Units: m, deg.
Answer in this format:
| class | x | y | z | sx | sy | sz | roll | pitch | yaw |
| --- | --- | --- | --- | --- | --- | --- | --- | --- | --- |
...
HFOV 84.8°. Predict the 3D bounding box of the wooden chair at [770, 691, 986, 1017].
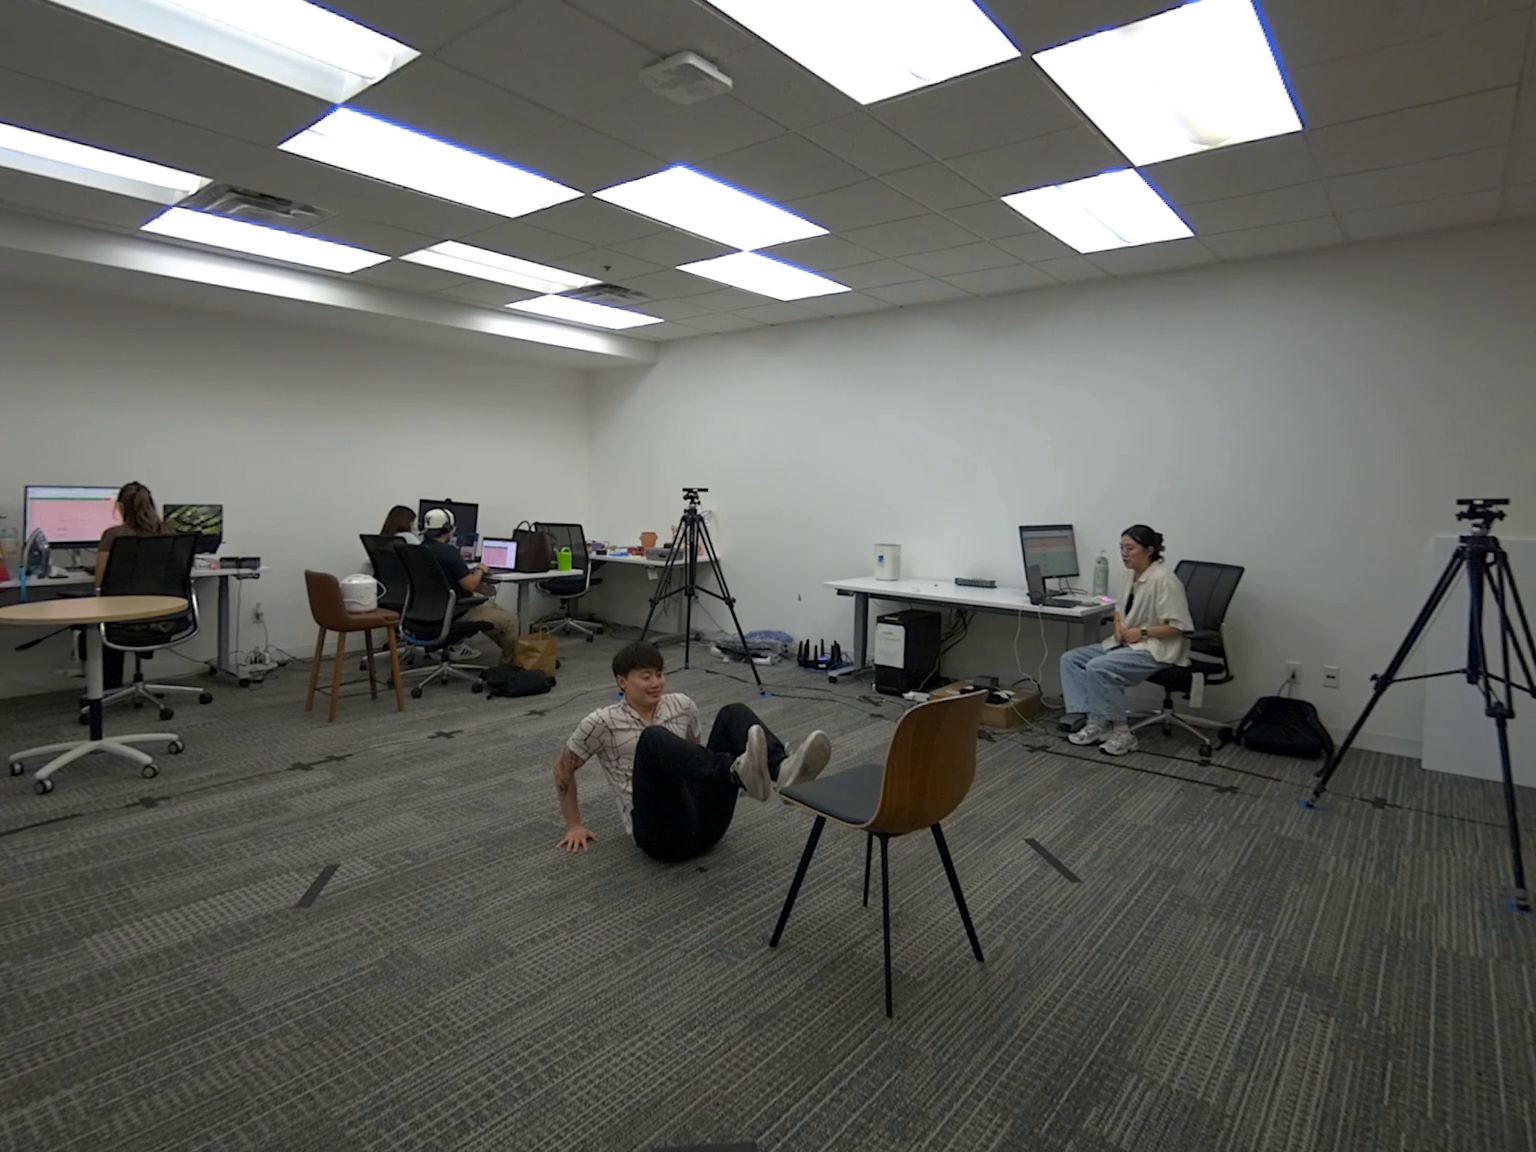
| class | x | y | z | sx | sy | sz | roll | pitch | yaw |
| --- | --- | --- | --- | --- | --- | --- | --- | --- | --- |
| wooden chair | 0.324 | 0.708 | 2.543 | 0.463 | 0.872 | 0.542 | -2 | 9 | -43 |
